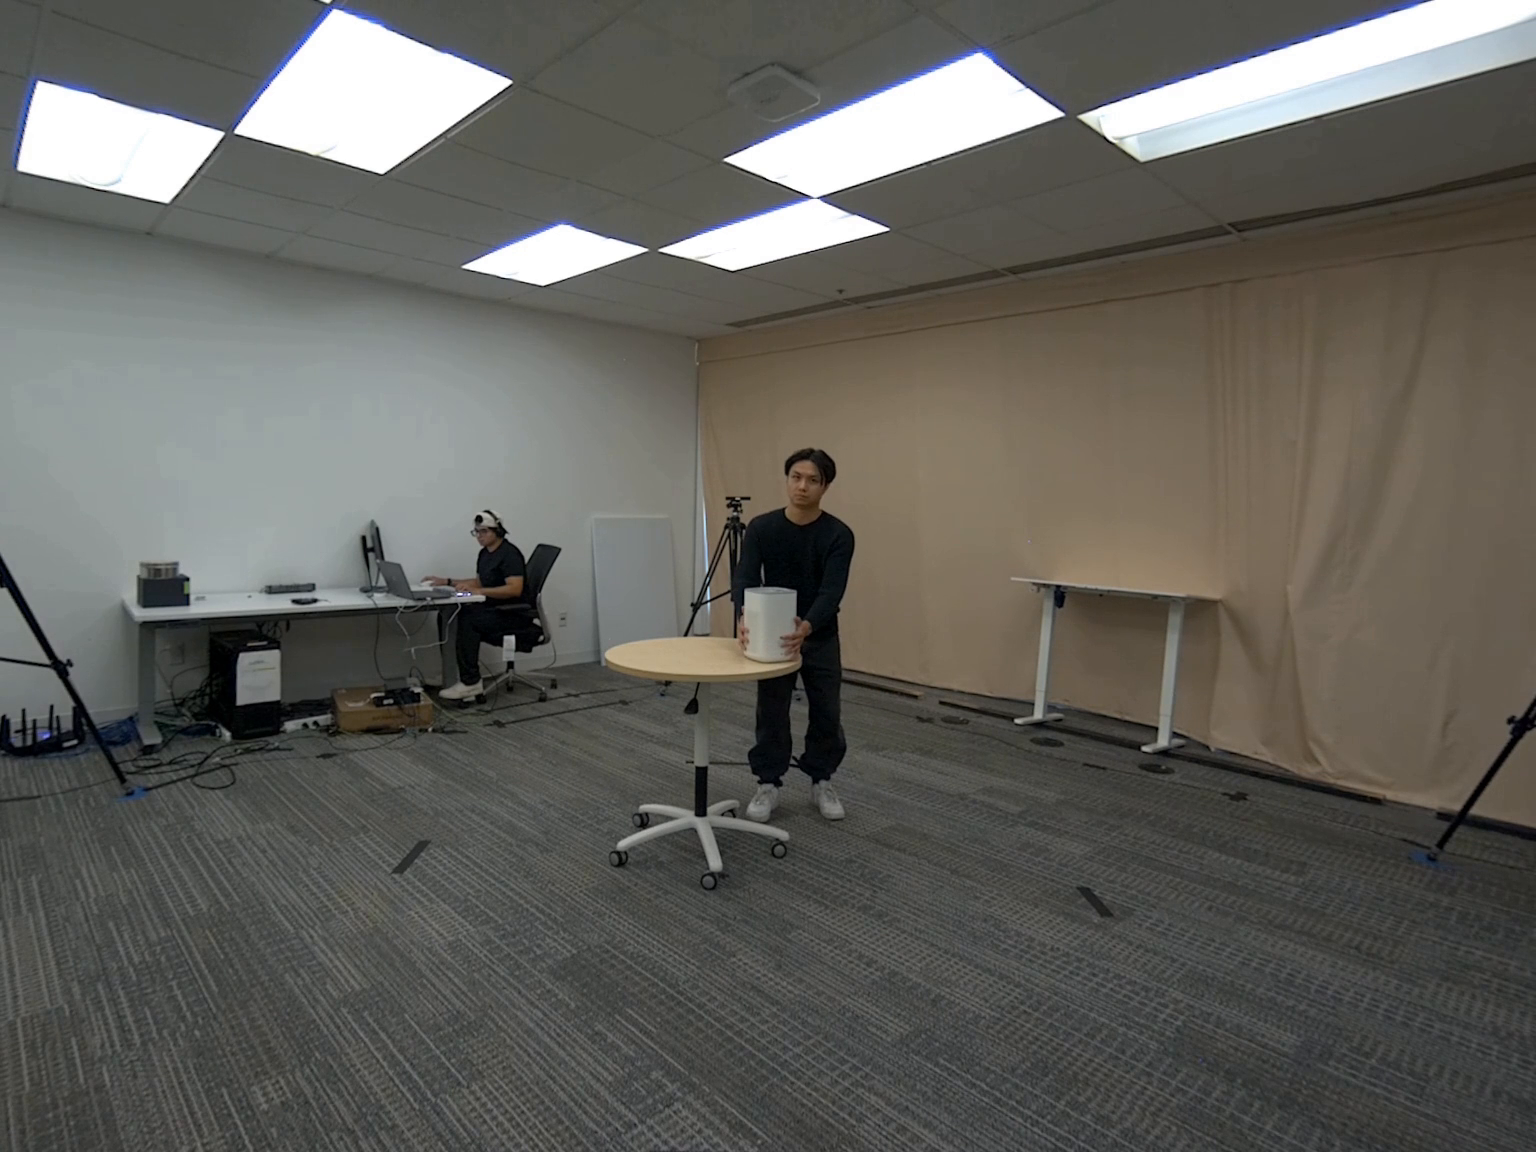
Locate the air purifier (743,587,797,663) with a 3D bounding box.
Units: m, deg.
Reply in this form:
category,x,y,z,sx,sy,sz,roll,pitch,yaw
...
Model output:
category,x,y,z,sx,sy,sz,roll,pitch,yaw
air purifier,-0.011,0.185,3.197,0.167,0.265,0.176,-1,4,-34
